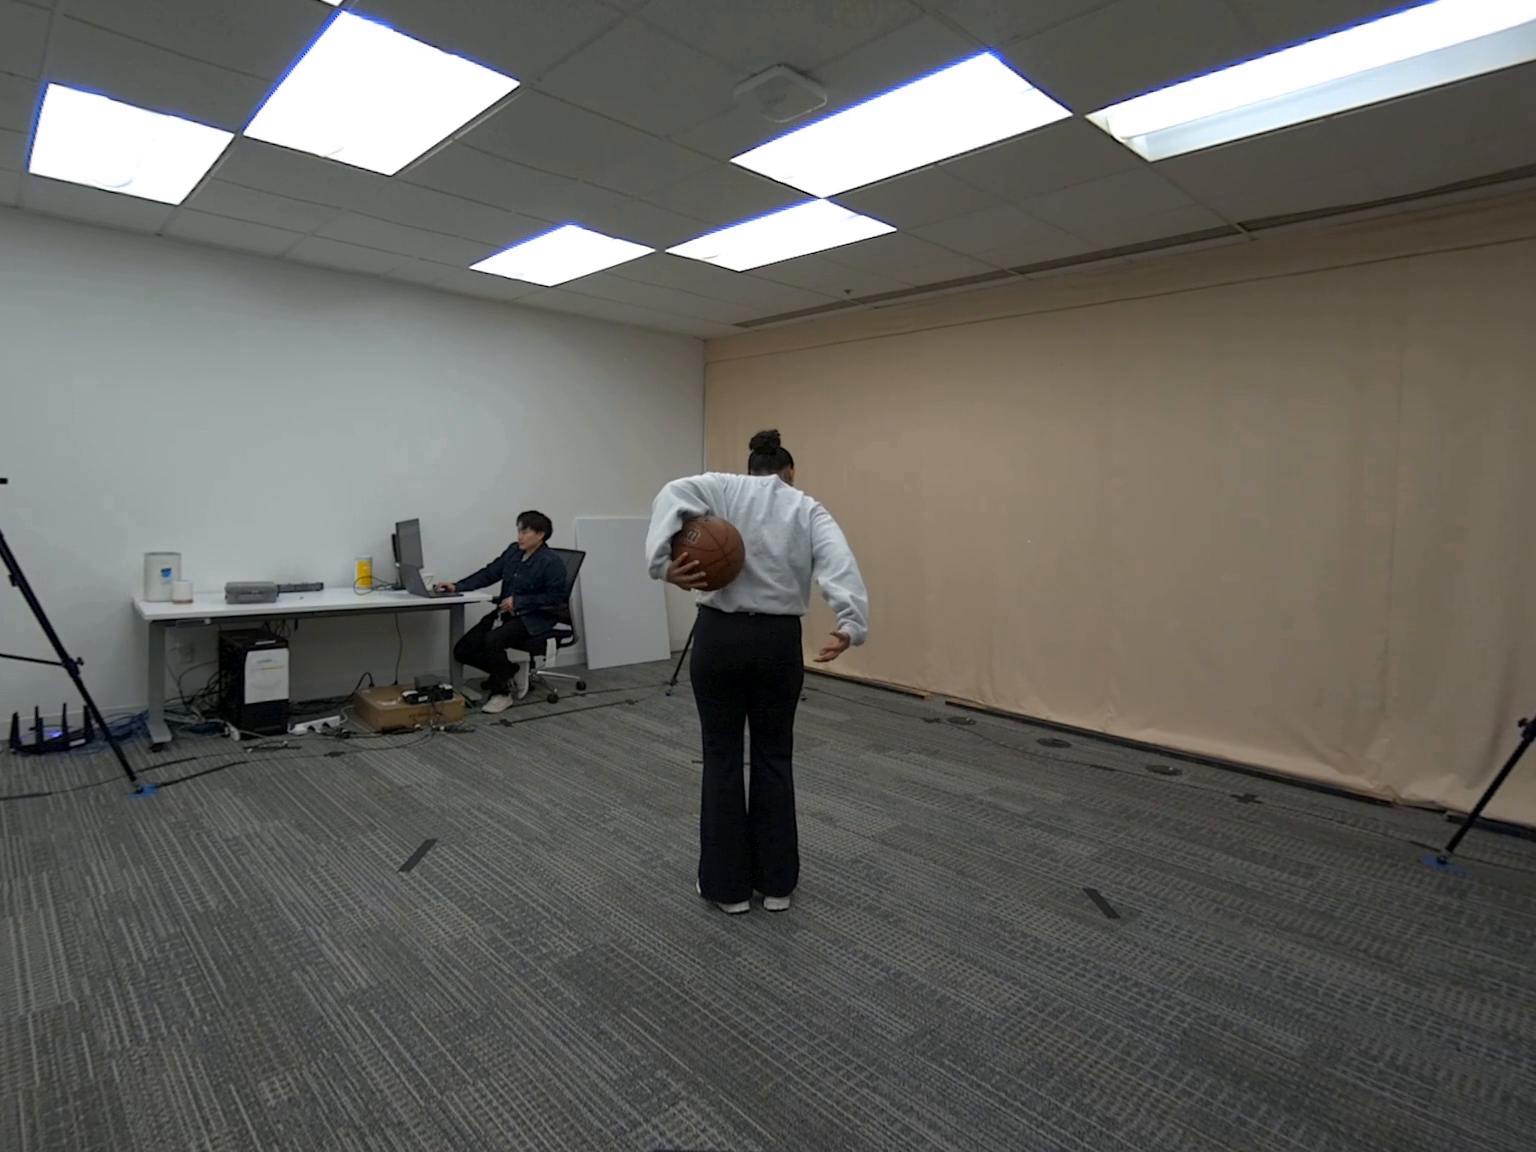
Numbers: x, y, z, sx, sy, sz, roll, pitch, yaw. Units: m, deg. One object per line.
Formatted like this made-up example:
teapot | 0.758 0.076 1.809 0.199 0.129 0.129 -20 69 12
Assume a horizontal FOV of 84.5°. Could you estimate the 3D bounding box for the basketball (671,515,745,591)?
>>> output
basketball | -0.199 -0.074 2.655 0.236 0.235 0.237 1 4 -1
